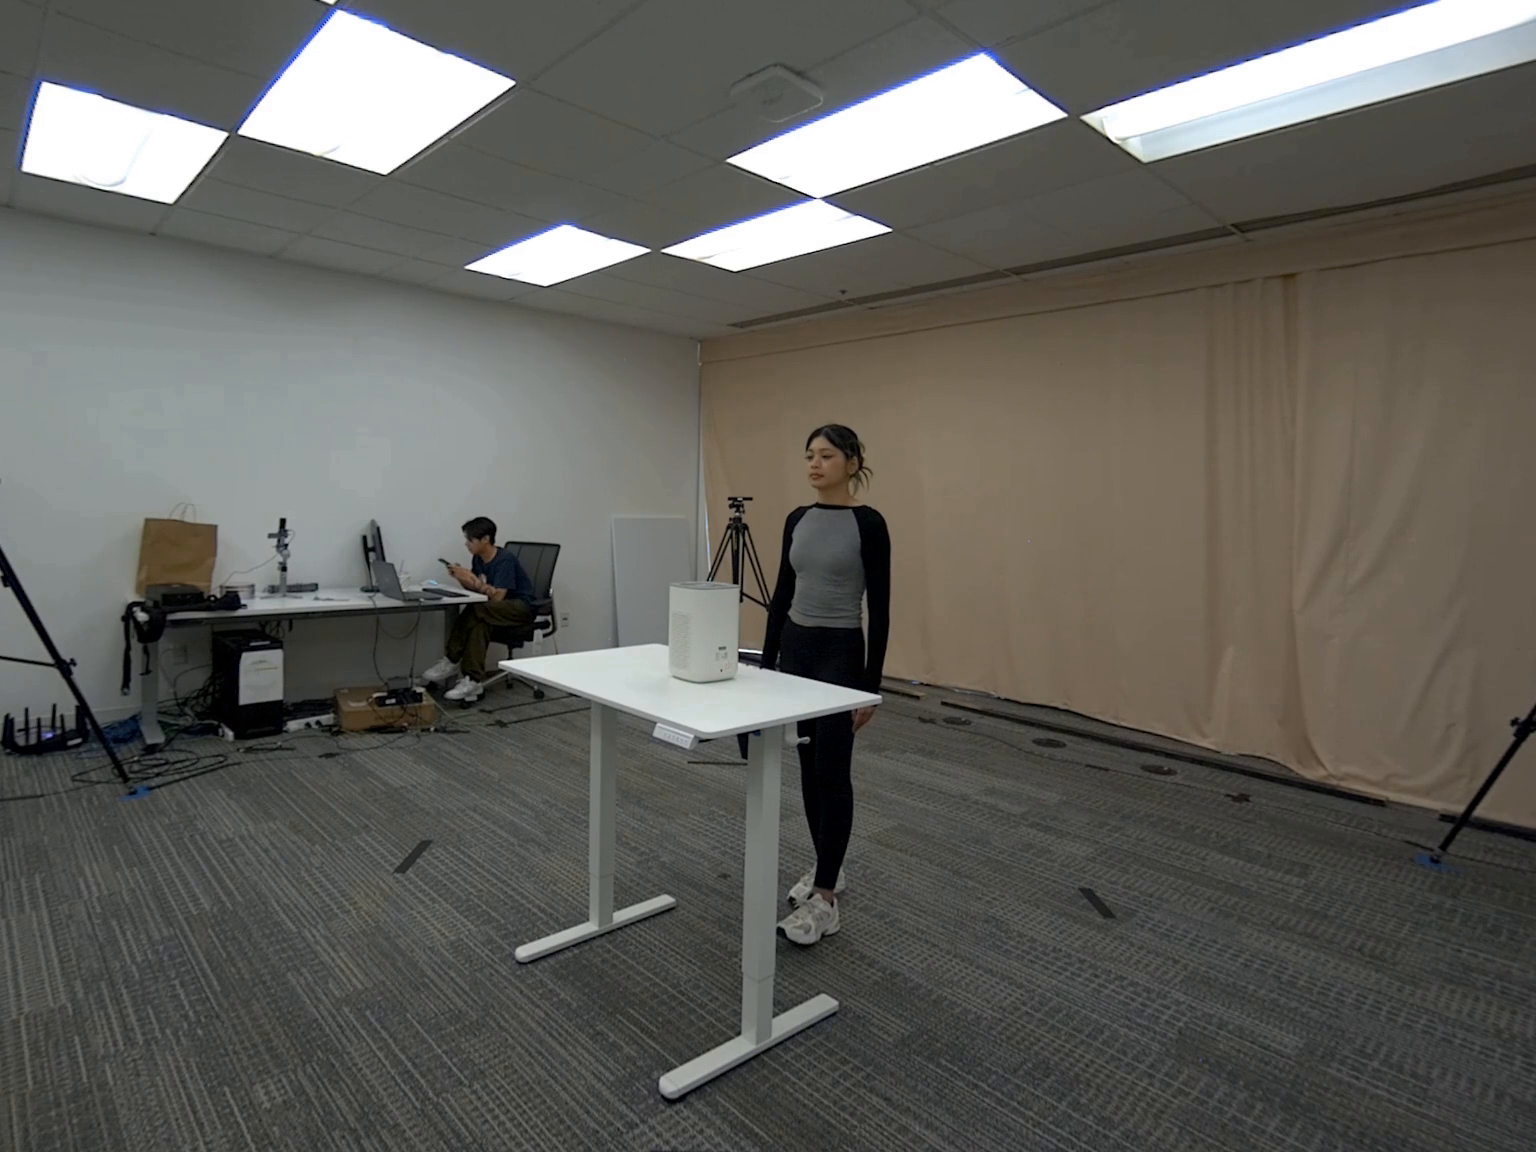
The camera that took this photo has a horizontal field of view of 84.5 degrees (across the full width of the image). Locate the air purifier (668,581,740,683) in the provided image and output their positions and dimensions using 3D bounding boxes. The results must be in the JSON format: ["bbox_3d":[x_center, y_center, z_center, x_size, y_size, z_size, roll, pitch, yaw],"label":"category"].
[{"bbox_3d":[-0.188,0.159,2.379,0.167,0.265,0.176,-1,4,-42],"label":"air purifier"}]
